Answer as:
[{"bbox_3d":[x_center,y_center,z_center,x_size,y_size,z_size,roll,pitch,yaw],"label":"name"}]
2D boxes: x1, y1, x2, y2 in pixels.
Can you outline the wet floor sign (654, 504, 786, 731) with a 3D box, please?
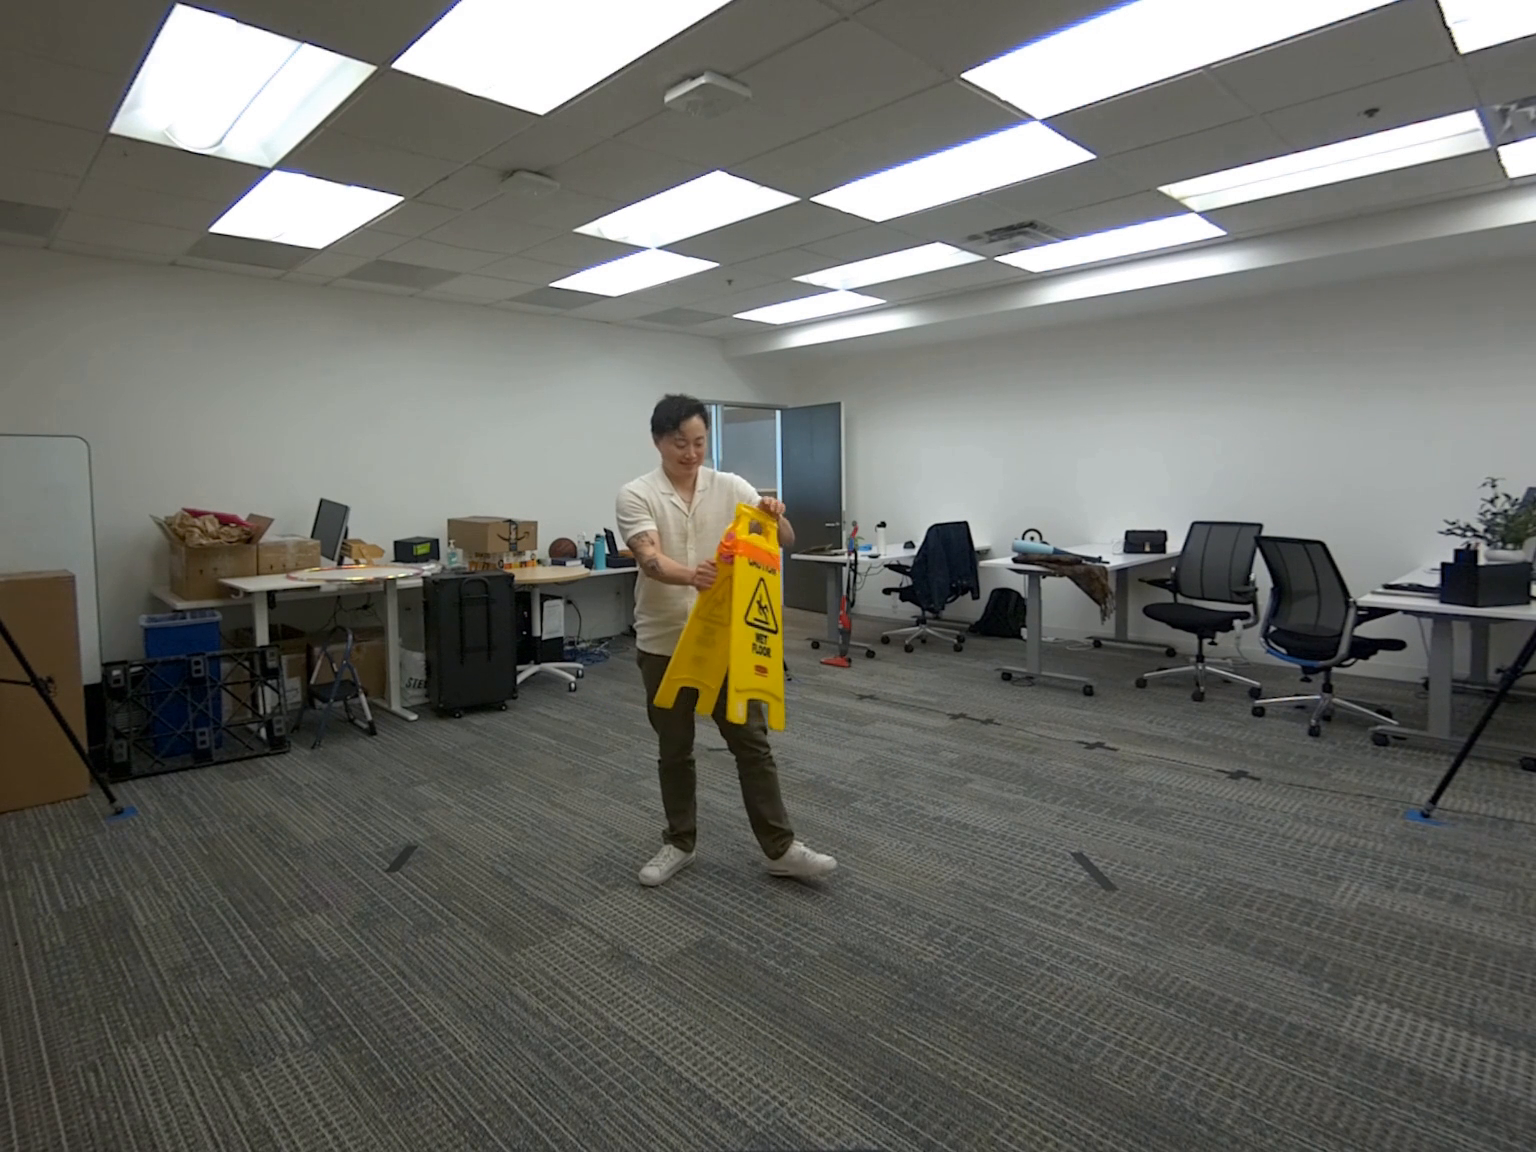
[{"bbox_3d":[-0.090,0.112,2.599,0.298,0.651,0.272,1,-14,37],"label":"wet floor sign"}]
